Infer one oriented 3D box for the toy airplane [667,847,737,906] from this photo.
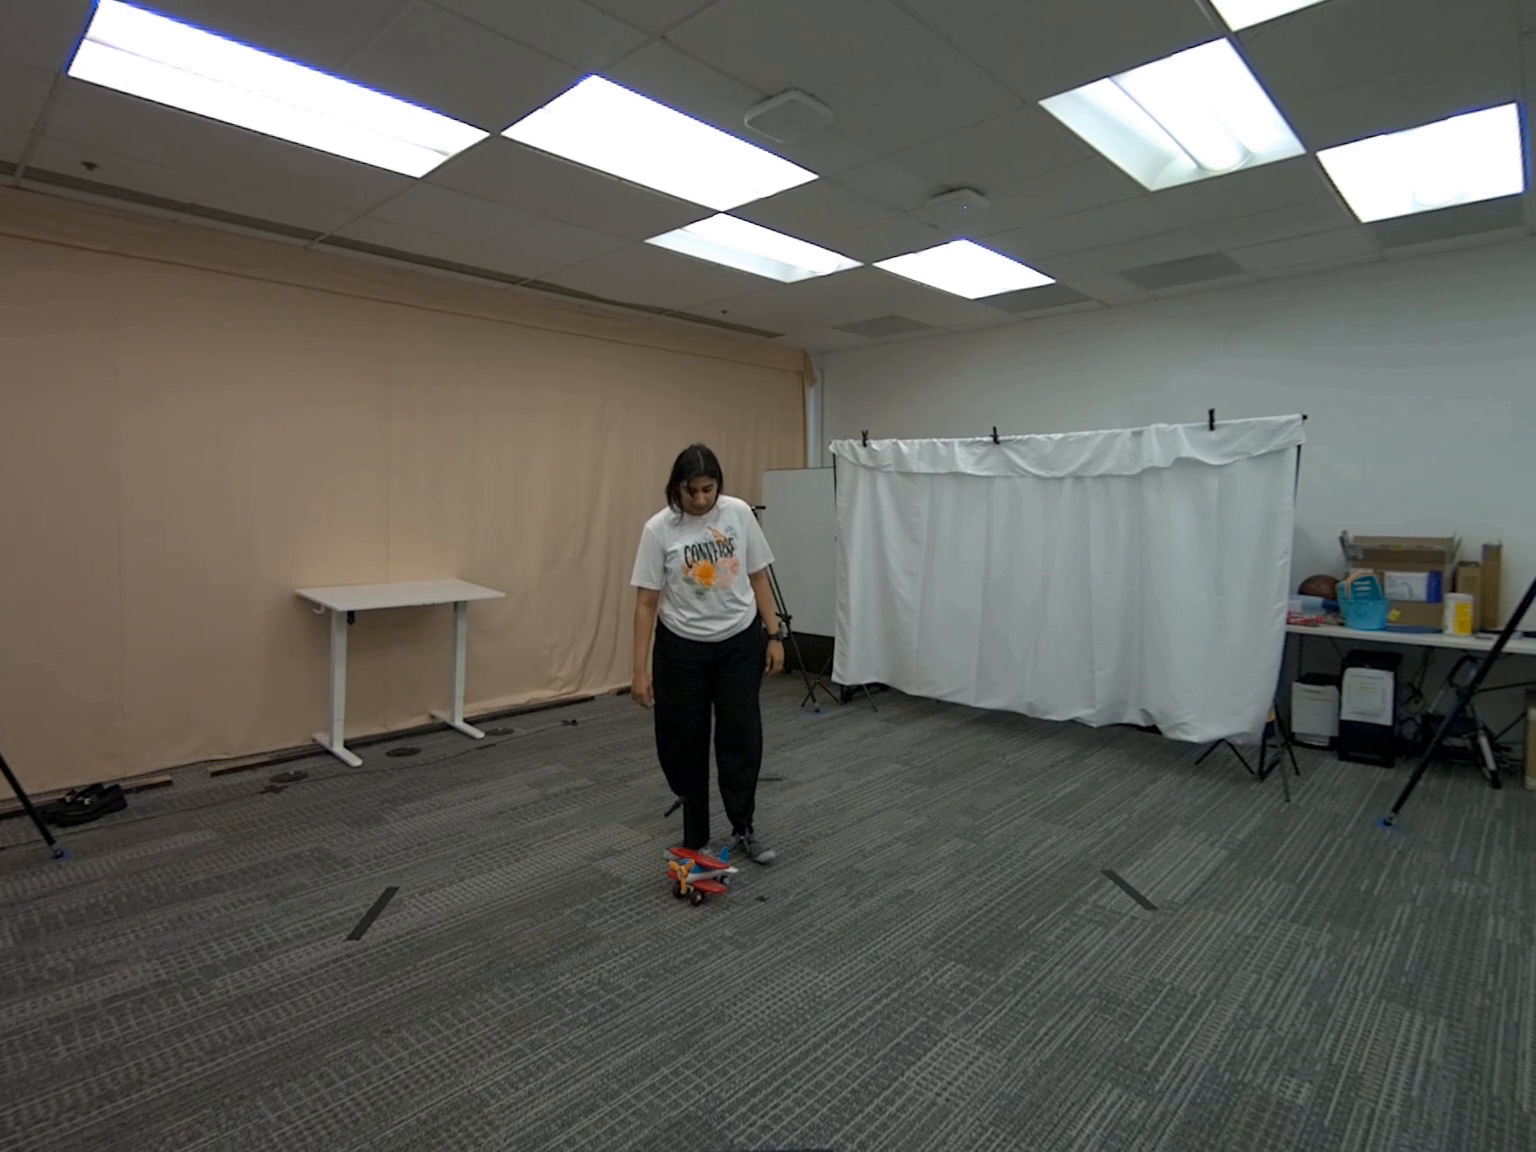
[{"bbox_3d":[-0.245,1.062,3.041,0.254,0.156,0.257,0,5,11],"label":"toy airplane"}]
